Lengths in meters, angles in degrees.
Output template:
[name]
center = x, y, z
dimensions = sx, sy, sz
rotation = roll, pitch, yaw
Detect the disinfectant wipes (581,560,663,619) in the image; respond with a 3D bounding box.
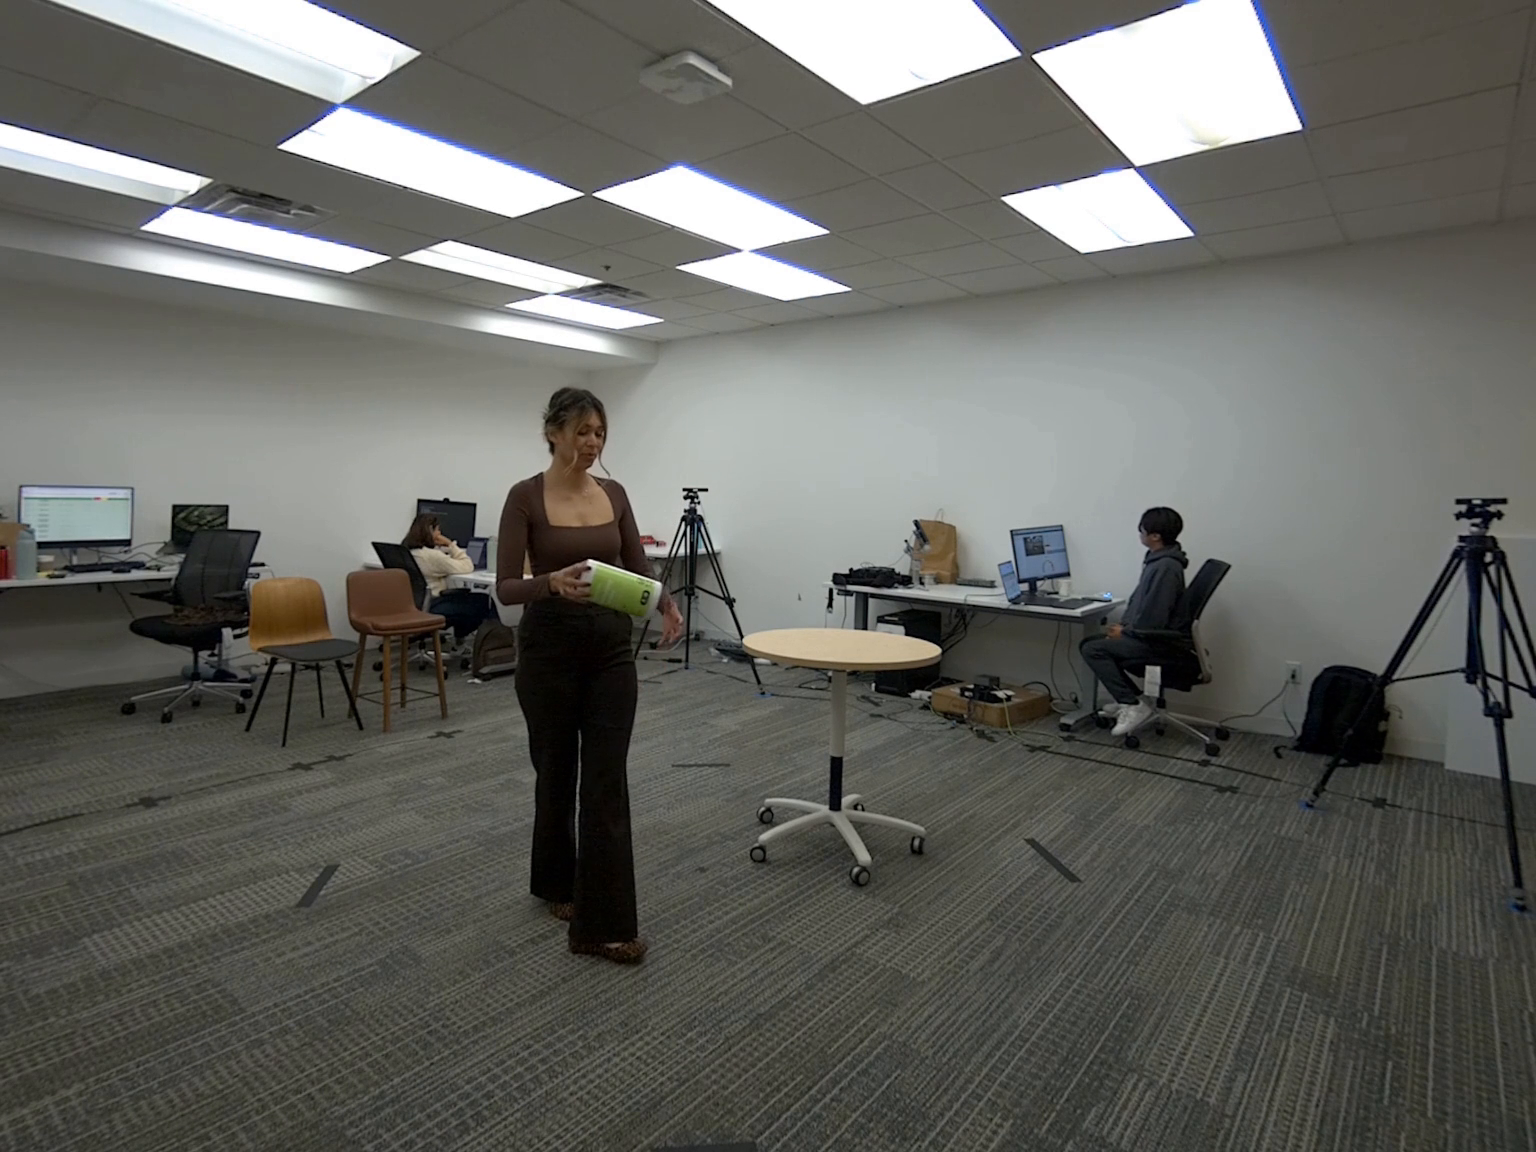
[disinfectant wipes]
center = -0.422, 0.036, 2.306
dimensions = 0.214, 0.118, 0.119
rotation = 20, 0, -12
